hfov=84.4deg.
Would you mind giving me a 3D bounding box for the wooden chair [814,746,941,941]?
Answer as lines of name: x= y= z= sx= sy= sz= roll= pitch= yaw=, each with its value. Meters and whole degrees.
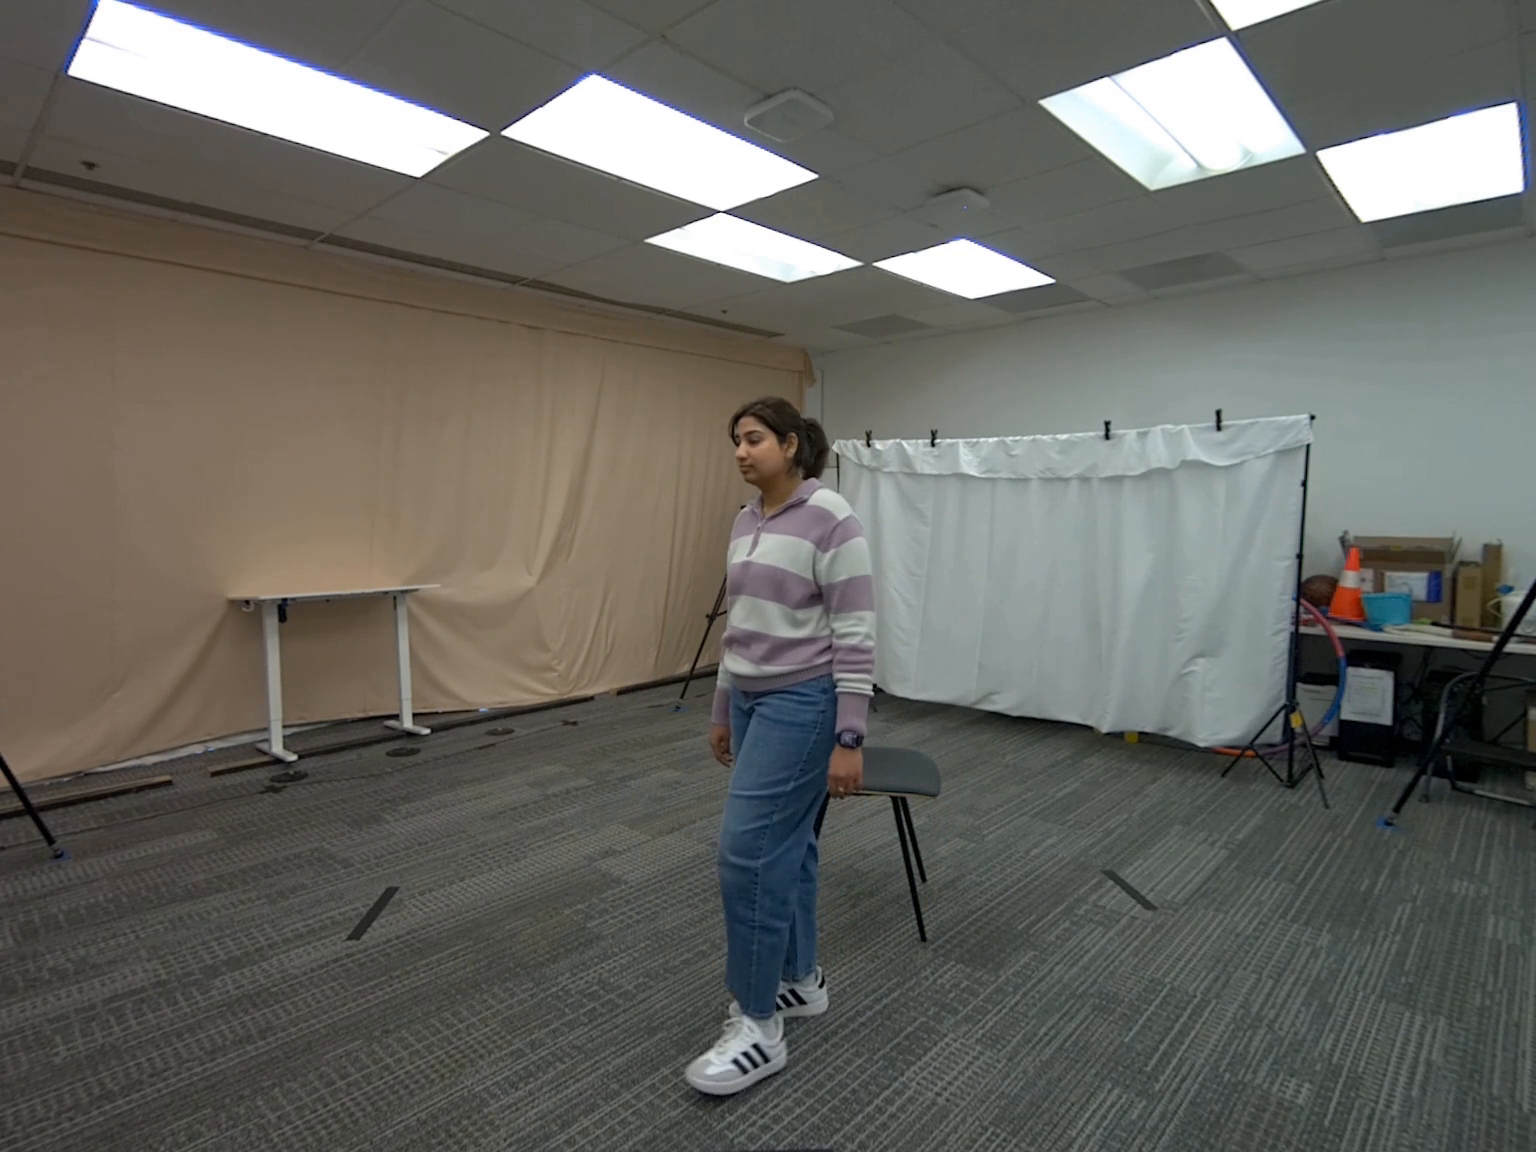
wooden chair: x=0.336 y=0.721 z=2.922 sx=0.531 sy=0.876 sz=0.472 roll=-3 pitch=2 yaw=13
